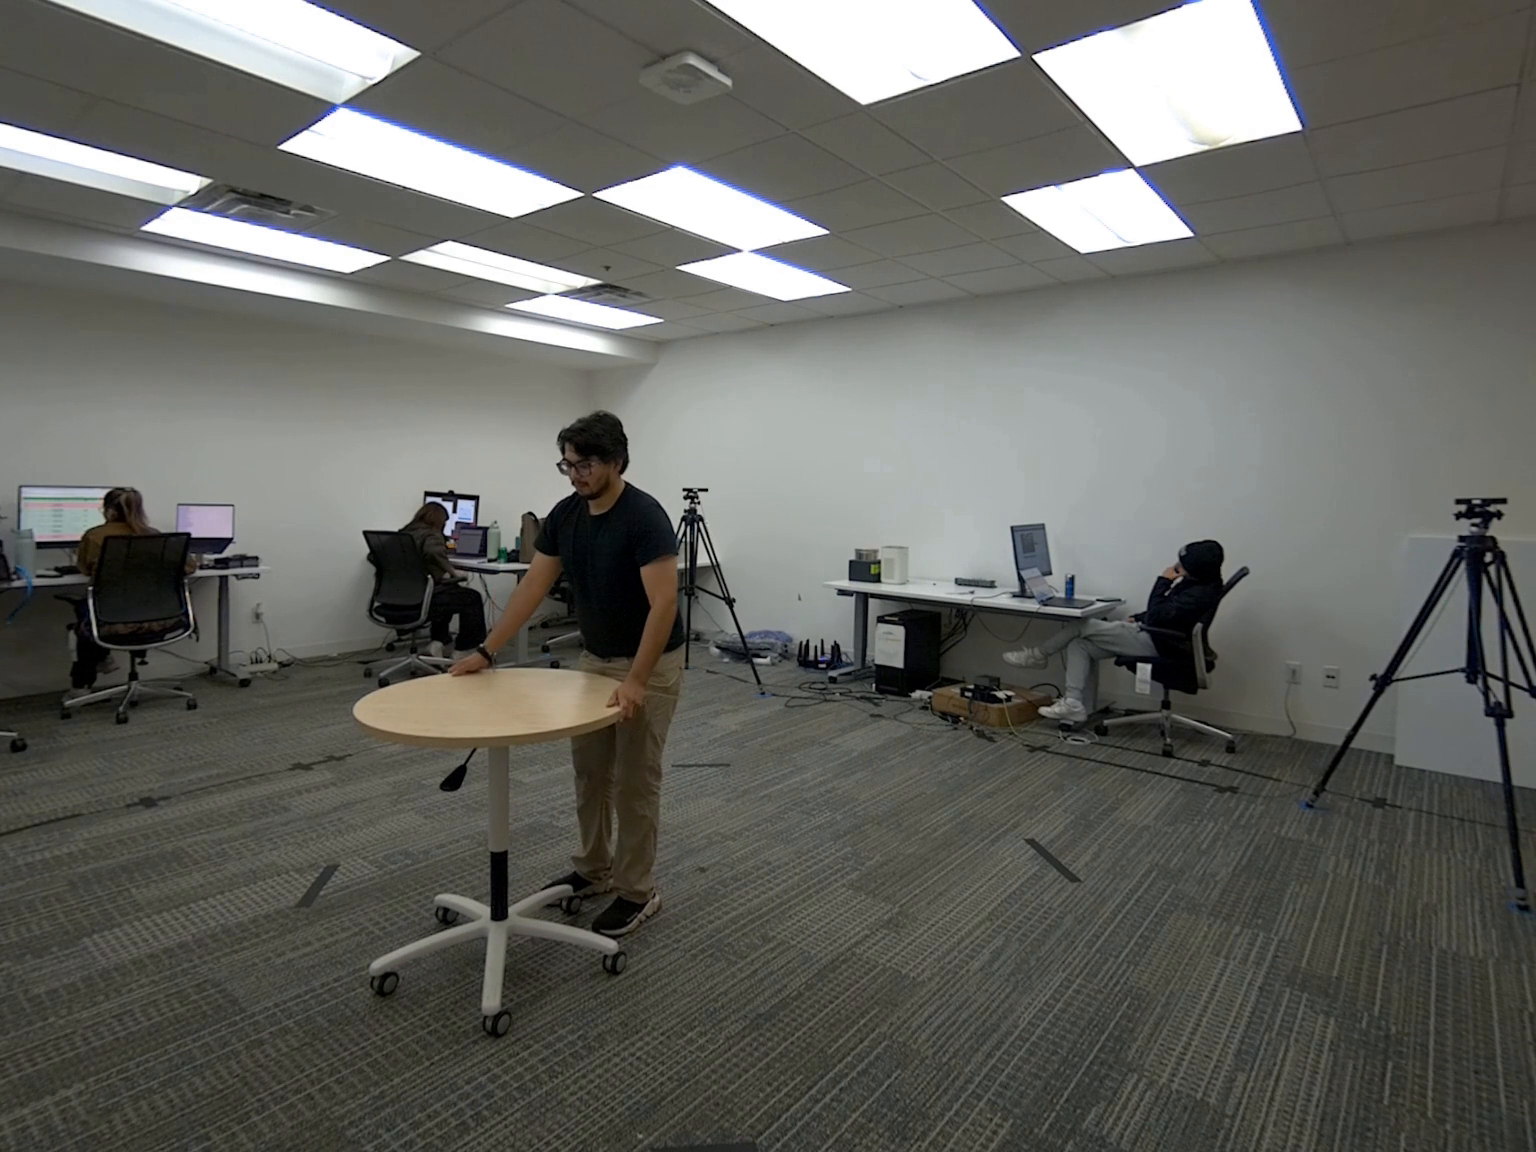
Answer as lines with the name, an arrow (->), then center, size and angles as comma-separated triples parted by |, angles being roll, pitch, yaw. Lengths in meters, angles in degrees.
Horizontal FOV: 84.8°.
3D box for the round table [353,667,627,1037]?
round table -> -0.767, 0.728, 2.440 | 0.784, 0.783, 0.789 | 0, 5, -2
